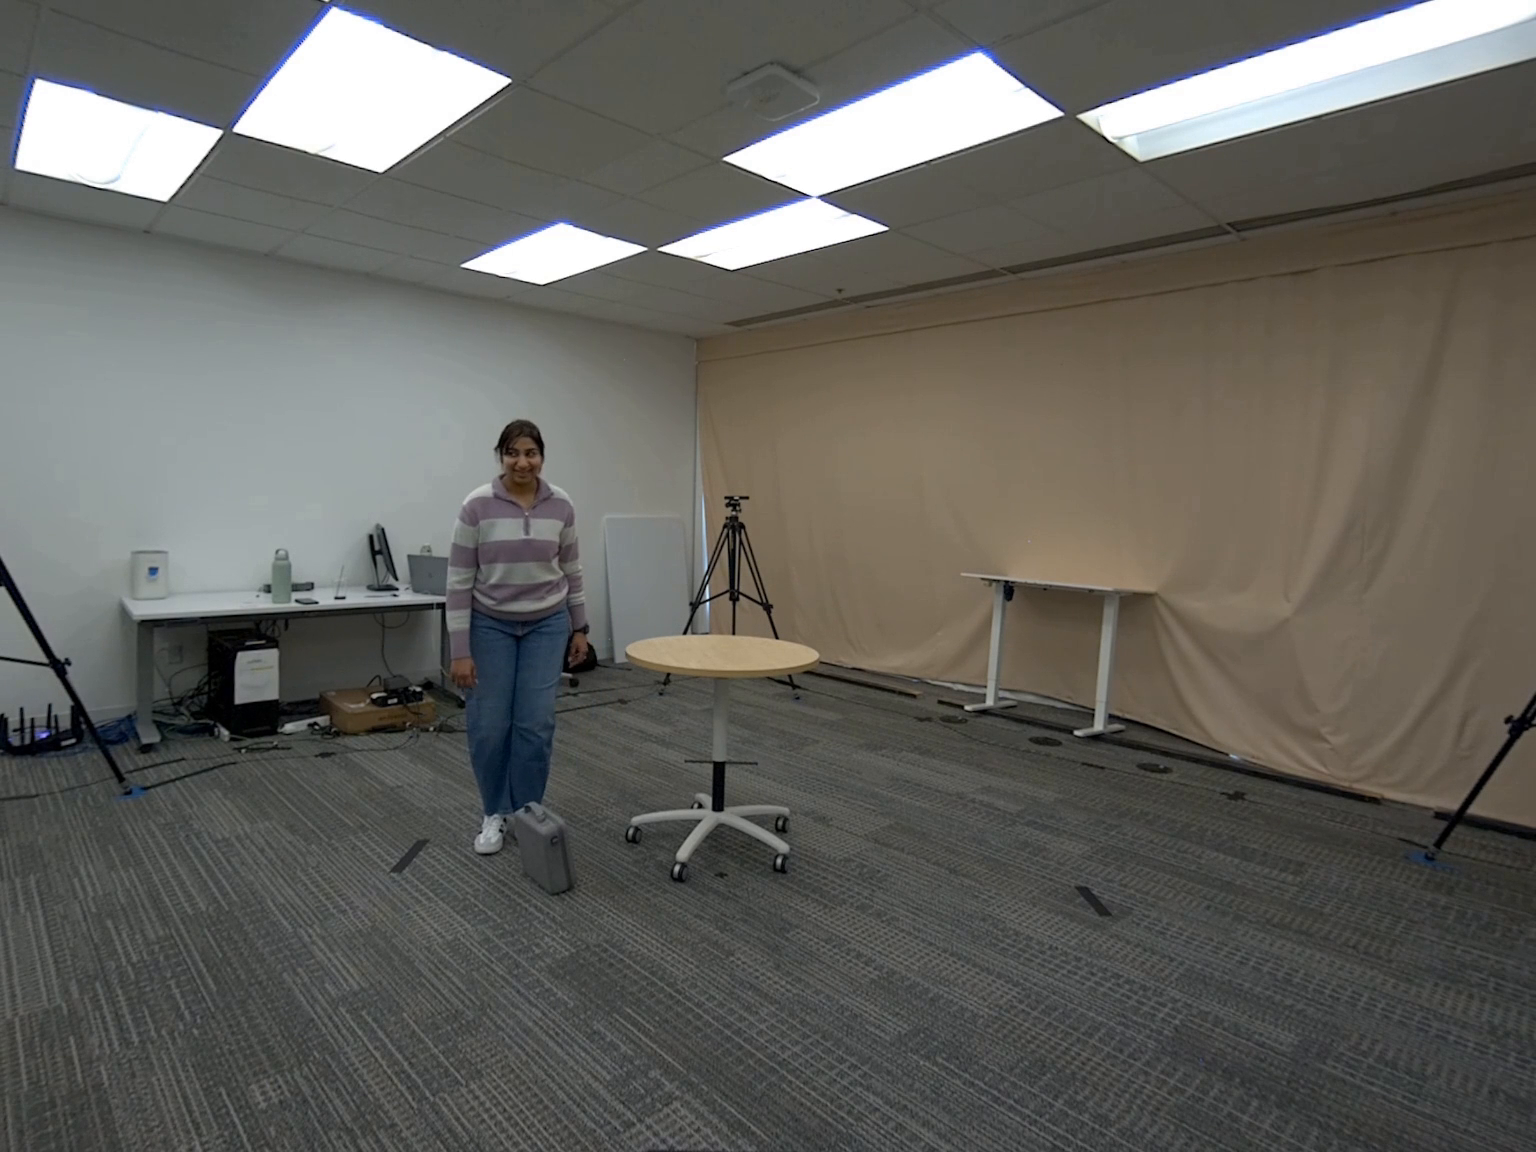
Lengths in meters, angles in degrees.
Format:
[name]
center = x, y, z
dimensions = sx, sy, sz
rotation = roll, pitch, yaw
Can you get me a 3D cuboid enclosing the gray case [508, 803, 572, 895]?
[gray case]
center = -0.805, 0.967, 3.002
dimensions = 0.102, 0.258, 0.263
rotation = -14, 12, -37
